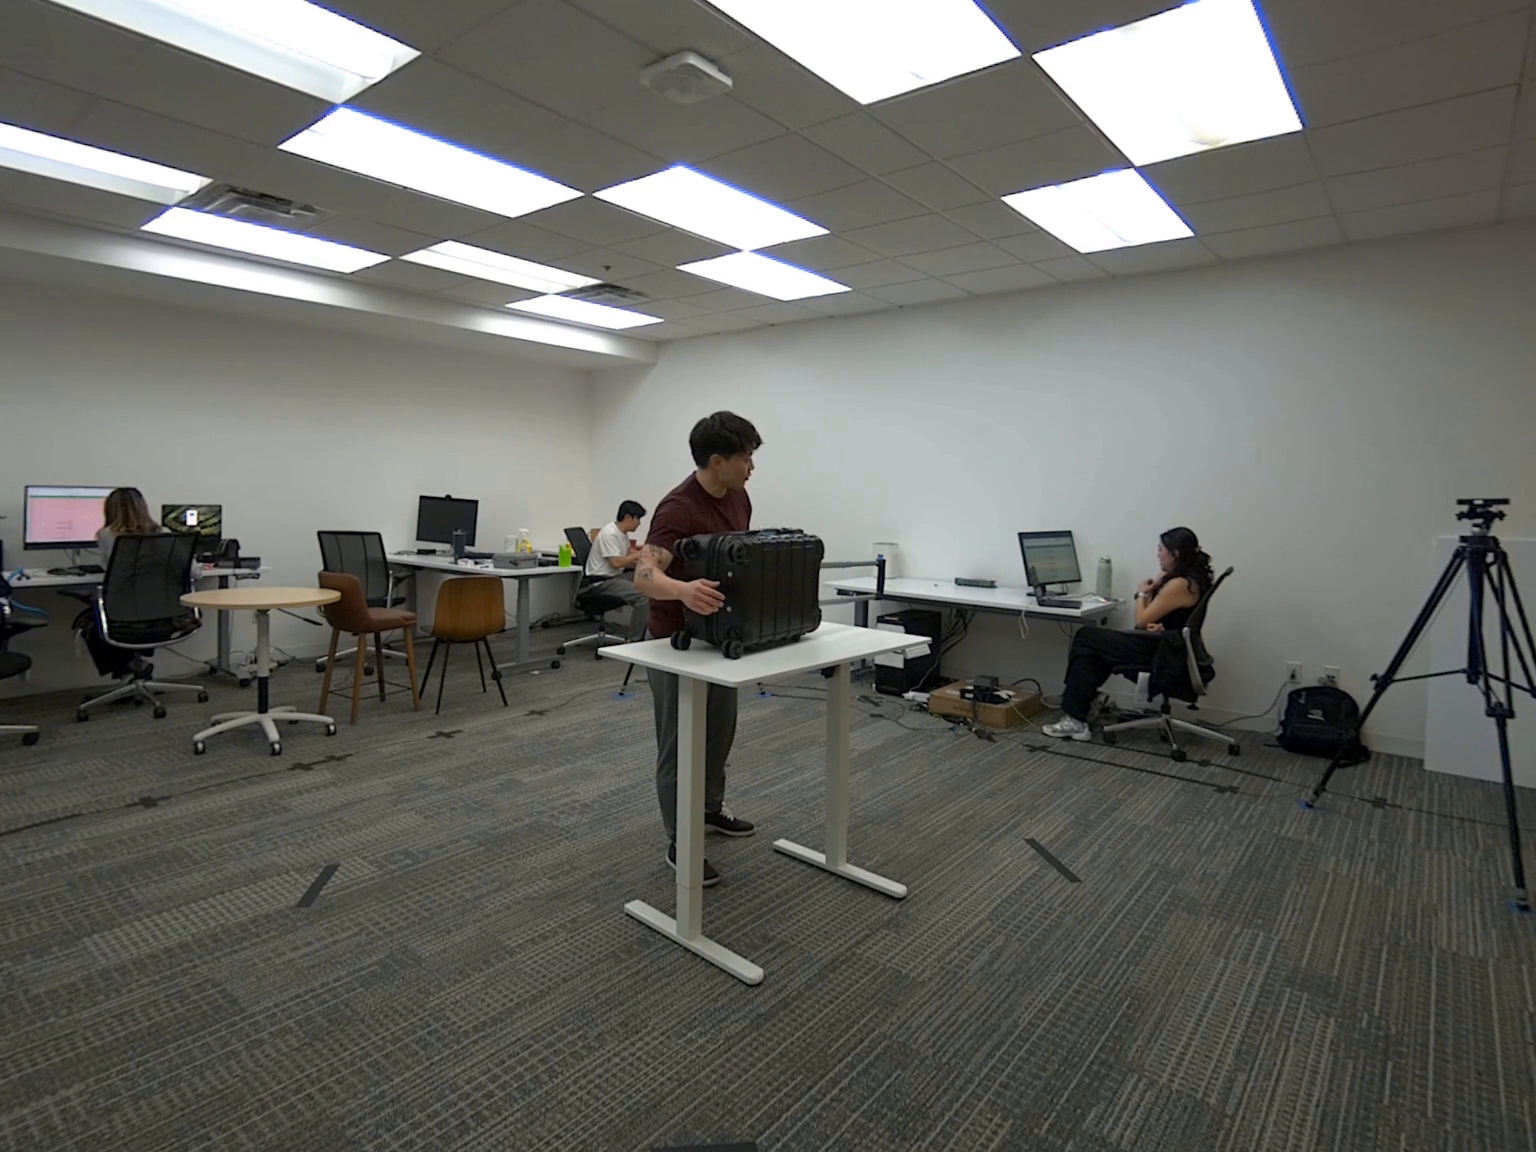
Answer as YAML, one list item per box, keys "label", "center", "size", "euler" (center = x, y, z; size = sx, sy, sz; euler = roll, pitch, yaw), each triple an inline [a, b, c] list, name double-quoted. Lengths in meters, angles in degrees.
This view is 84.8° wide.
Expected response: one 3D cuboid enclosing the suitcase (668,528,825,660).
- label: "suitcase"
  center: [0.078, 0.024, 2.958]
  size: [0.265, 0.383, 0.951]
  euler: [2, 5, 37]
